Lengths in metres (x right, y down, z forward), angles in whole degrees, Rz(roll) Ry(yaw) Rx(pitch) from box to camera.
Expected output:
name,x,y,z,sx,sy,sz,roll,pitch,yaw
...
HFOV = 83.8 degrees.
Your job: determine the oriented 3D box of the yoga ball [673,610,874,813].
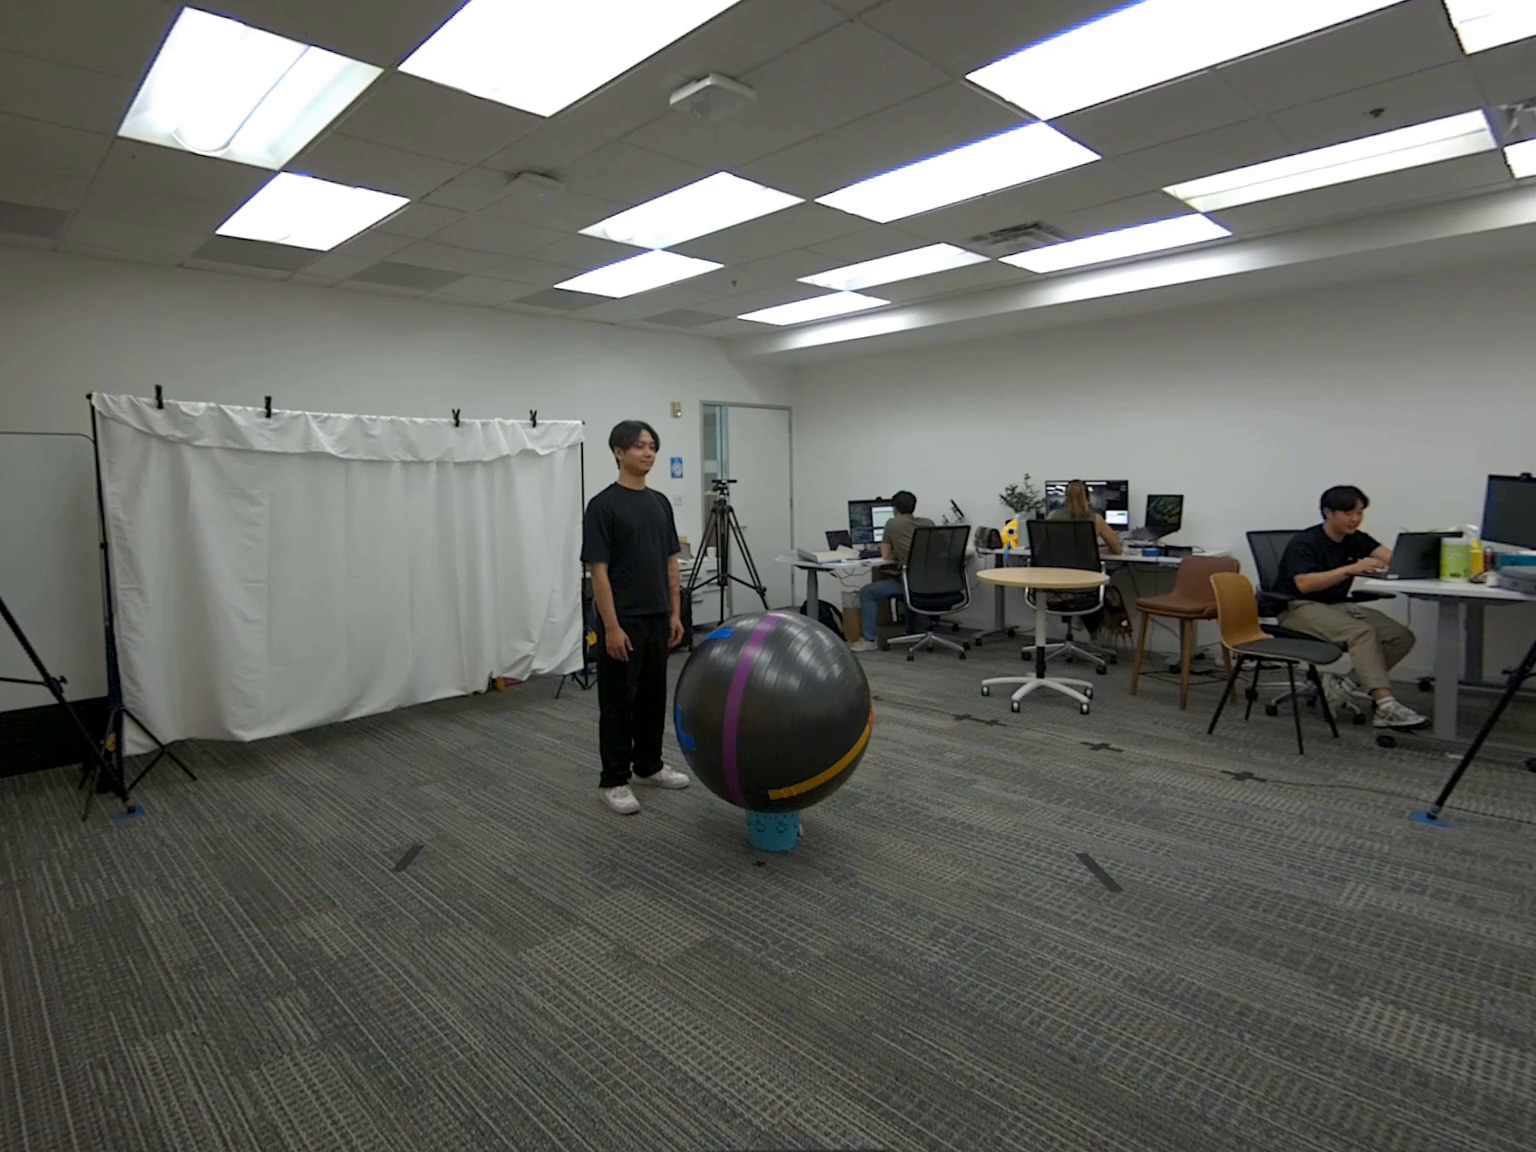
name,x,y,z,sx,sy,sz,roll,pitch,yaw
yoga ball,0.021,0.515,3.282,0.757,0.755,0.762,-1,5,-2
